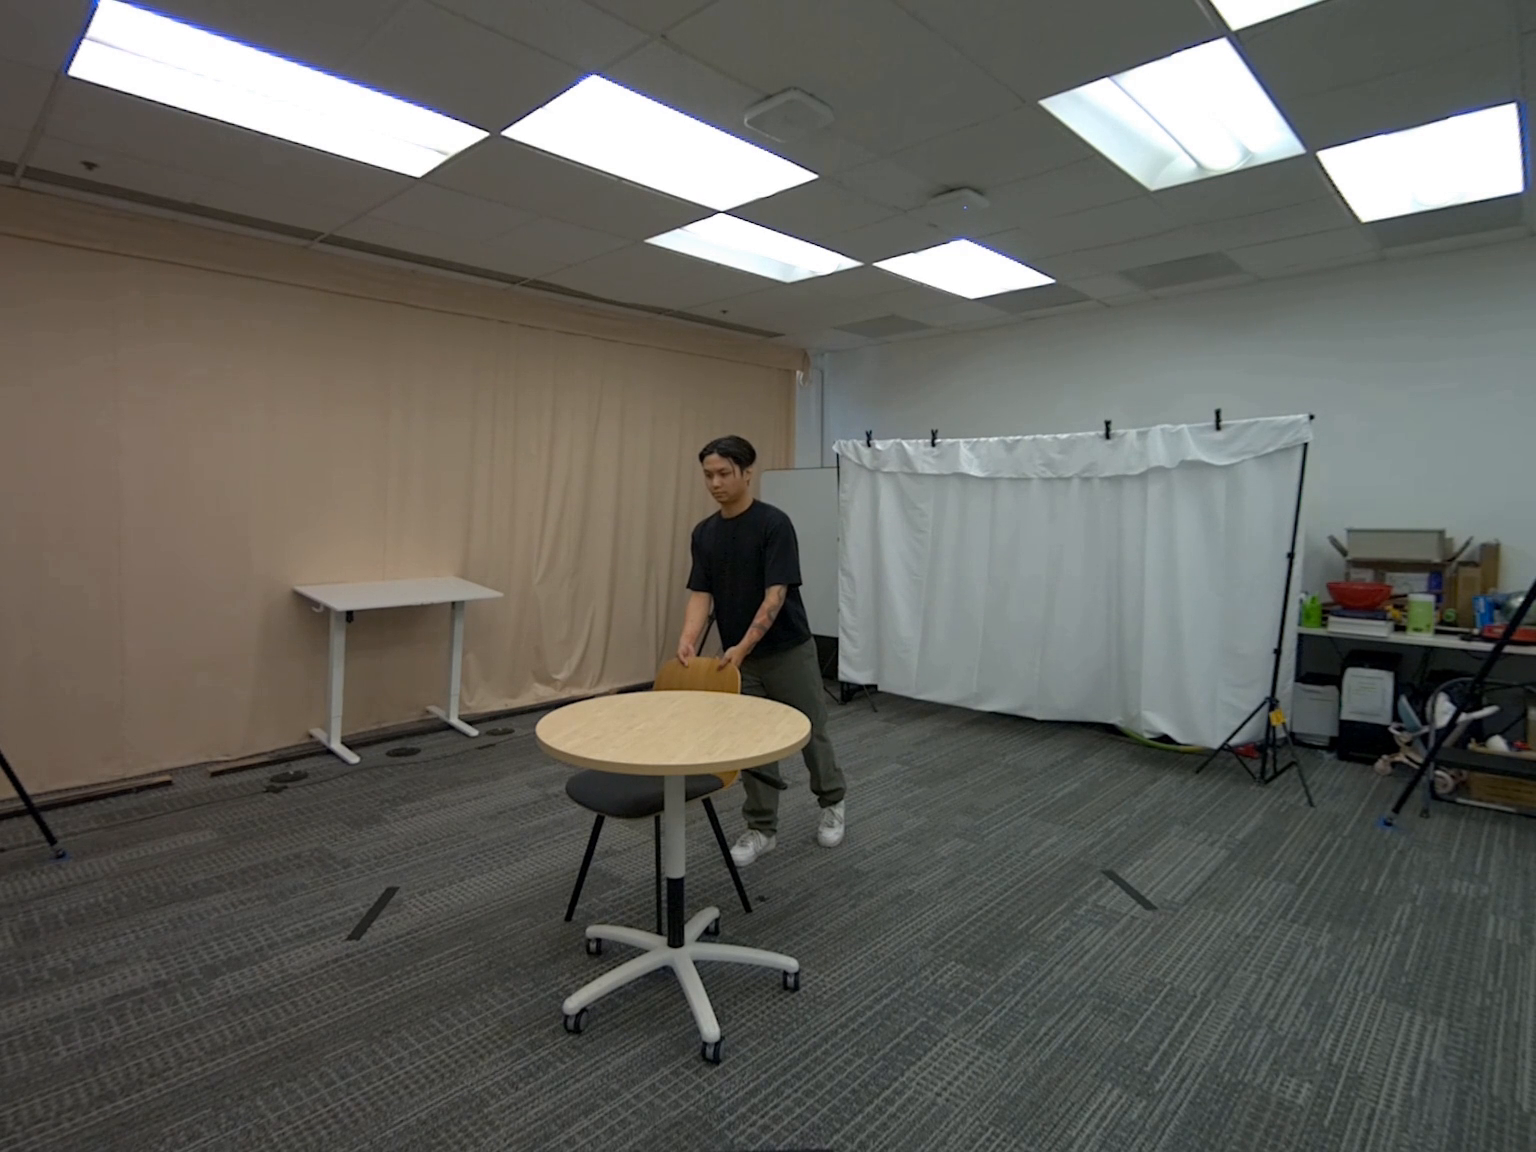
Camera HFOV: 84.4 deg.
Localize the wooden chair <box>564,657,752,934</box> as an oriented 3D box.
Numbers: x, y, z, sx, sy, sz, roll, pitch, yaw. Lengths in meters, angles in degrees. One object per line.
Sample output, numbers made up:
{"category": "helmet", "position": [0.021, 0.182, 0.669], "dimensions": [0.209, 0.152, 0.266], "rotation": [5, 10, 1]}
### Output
{"category": "wooden chair", "position": [-0.372, 0.729, 2.823], "dimensions": [0.493, 0.878, 0.506], "rotation": [2, -1, 39]}
